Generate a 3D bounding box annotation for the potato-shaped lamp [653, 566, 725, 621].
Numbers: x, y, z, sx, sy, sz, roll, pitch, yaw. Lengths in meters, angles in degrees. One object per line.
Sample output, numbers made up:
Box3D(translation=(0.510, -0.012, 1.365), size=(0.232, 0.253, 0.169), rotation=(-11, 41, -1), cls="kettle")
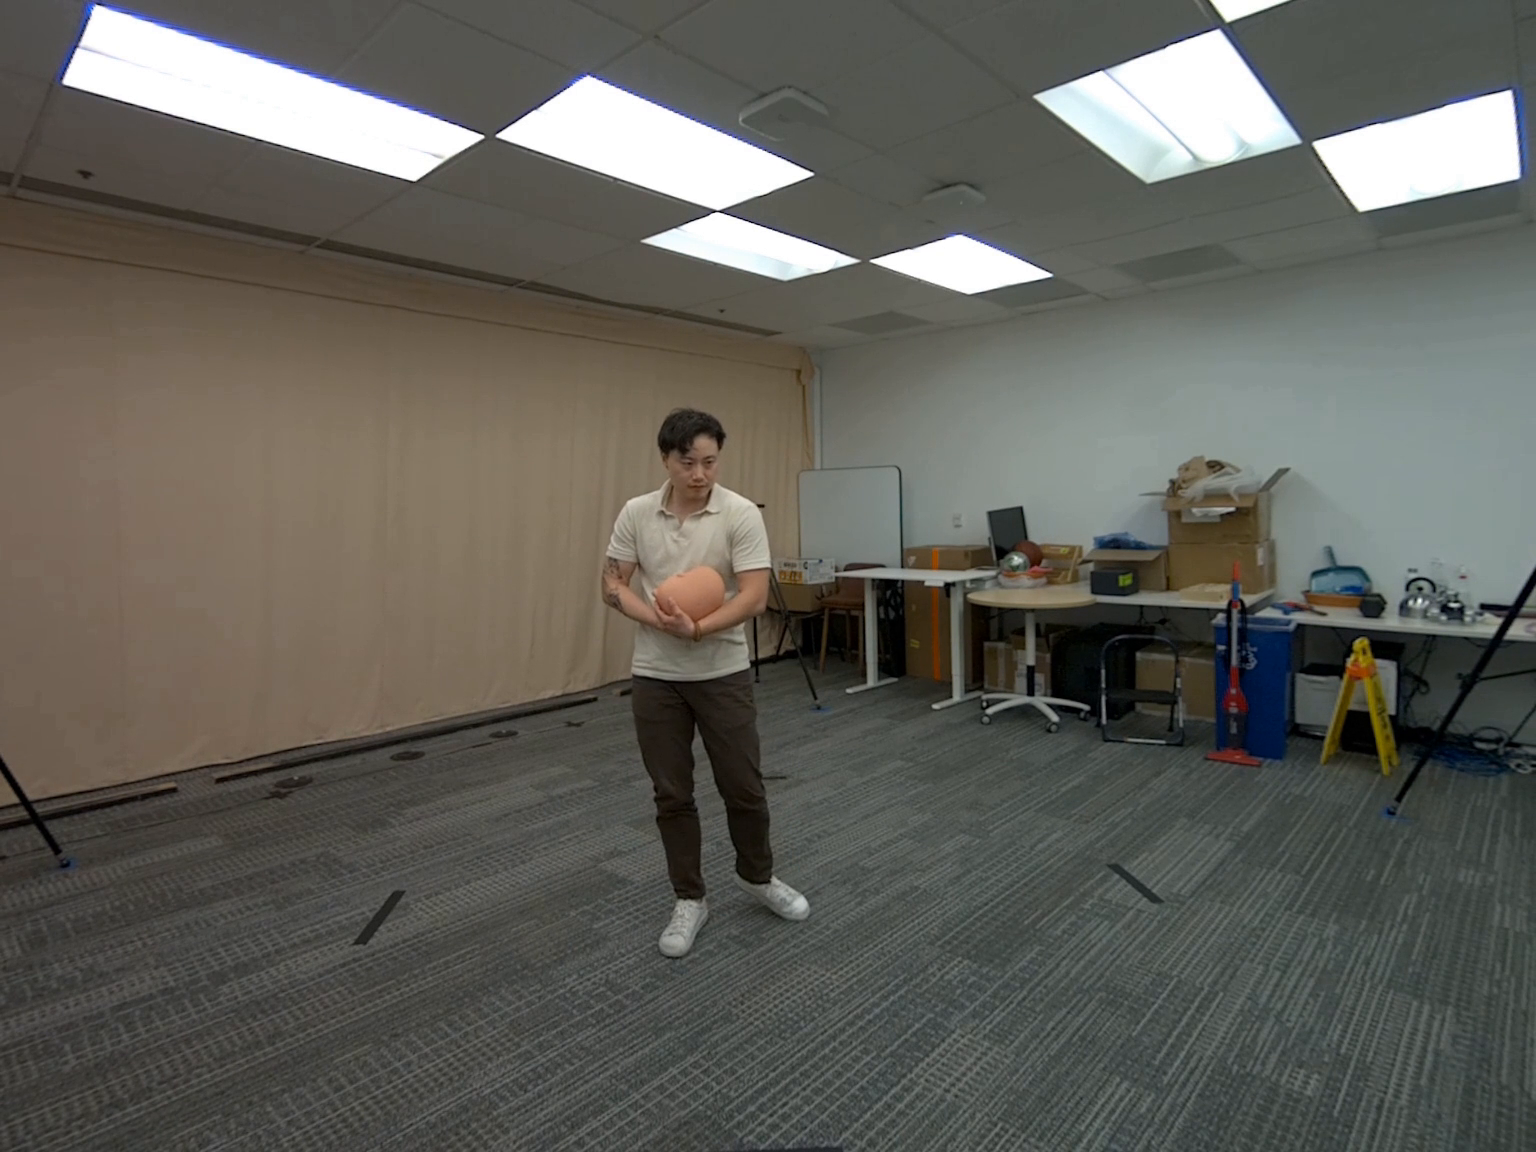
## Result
Box3D(translation=(-0.211, 0.060, 2.531), size=(0.197, 0.175, 0.161), rotation=(-40, -20, -8), cls="potato-shaped lamp")
